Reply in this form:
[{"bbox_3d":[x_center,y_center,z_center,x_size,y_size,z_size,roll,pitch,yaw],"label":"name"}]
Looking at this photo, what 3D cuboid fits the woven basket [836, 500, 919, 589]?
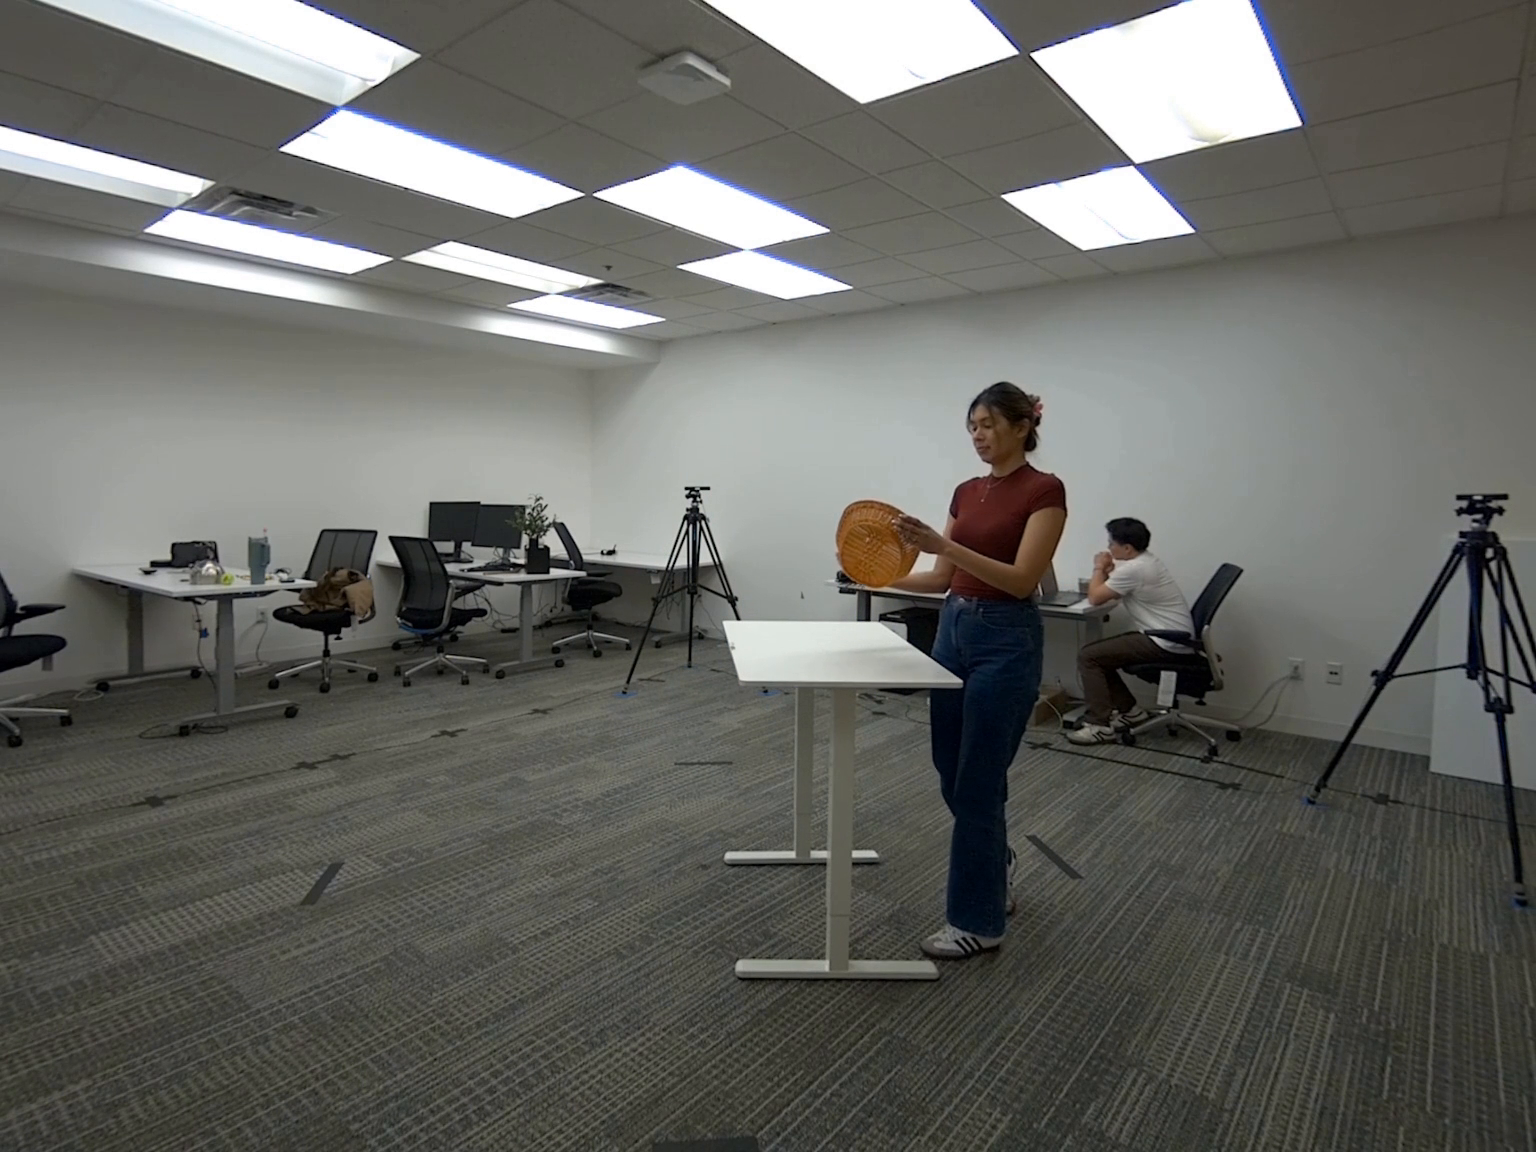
[{"bbox_3d":[0.301,-0.077,2.502,0.257,0.074,0.342,26,-34,12],"label":"woven basket"}]
